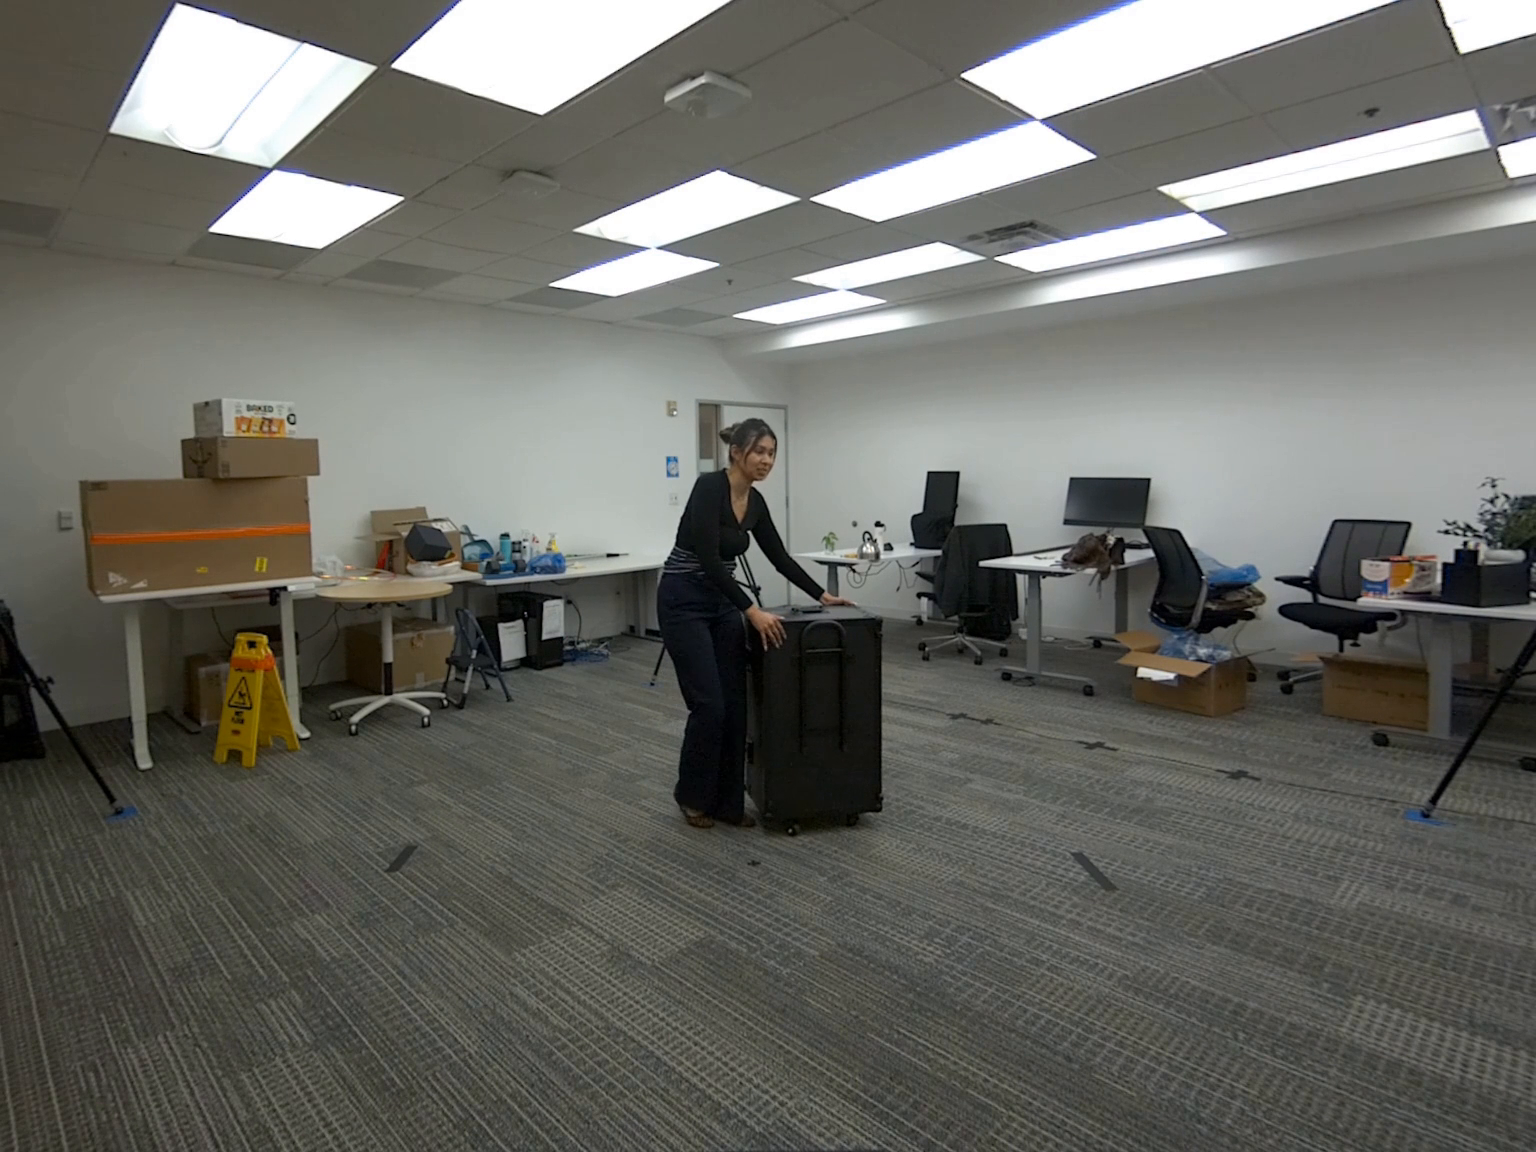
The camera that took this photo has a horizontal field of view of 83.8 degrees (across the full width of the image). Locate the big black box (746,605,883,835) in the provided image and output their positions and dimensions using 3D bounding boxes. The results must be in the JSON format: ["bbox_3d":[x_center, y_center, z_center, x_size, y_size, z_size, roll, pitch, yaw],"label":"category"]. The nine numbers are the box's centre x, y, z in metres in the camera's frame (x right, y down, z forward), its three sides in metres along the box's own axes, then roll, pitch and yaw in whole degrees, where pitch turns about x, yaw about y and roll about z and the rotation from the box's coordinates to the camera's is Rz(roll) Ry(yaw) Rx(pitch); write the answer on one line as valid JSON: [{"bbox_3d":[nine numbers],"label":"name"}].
[{"bbox_3d":[0.185,0.573,3.483,0.516,0.857,0.402,-2,5,-12],"label":"big black box"}]
